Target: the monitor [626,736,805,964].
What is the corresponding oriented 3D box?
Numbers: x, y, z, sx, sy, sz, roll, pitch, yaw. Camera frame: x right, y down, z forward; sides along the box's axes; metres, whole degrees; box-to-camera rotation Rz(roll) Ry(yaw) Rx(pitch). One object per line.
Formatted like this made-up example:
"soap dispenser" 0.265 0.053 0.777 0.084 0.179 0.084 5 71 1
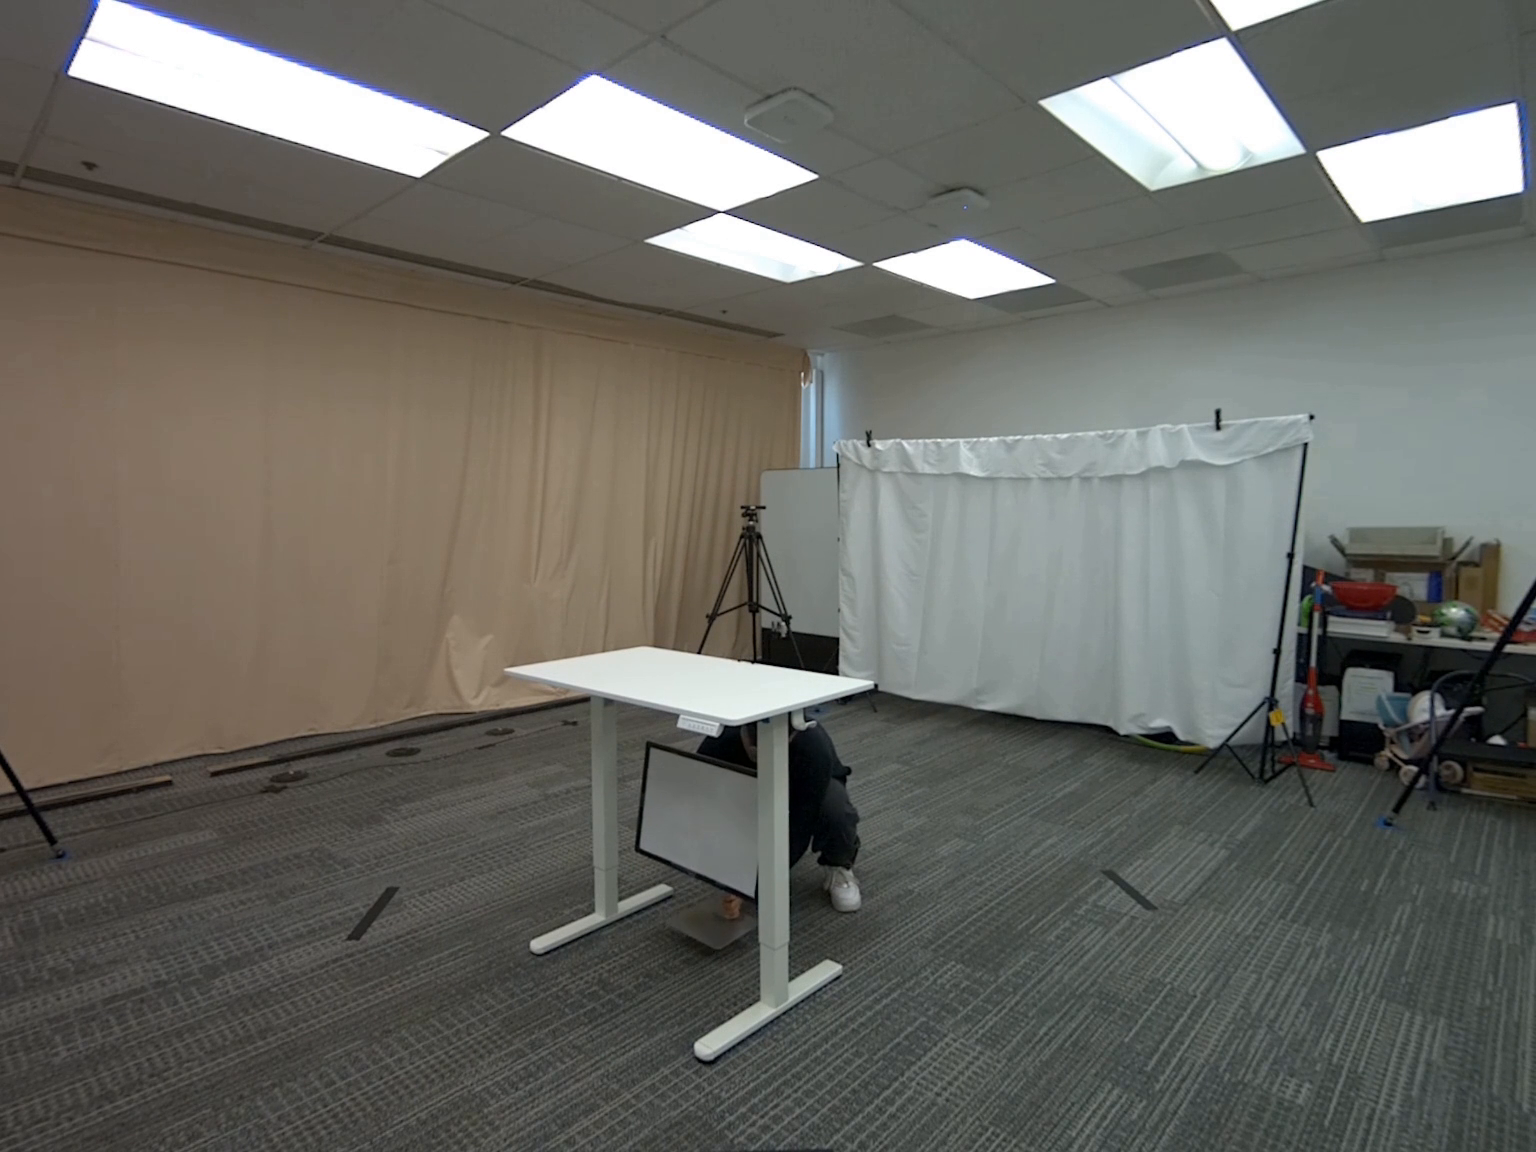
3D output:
"monitor" -0.175 0.823 2.636 0.170 0.512 0.547 -16 13 -43
